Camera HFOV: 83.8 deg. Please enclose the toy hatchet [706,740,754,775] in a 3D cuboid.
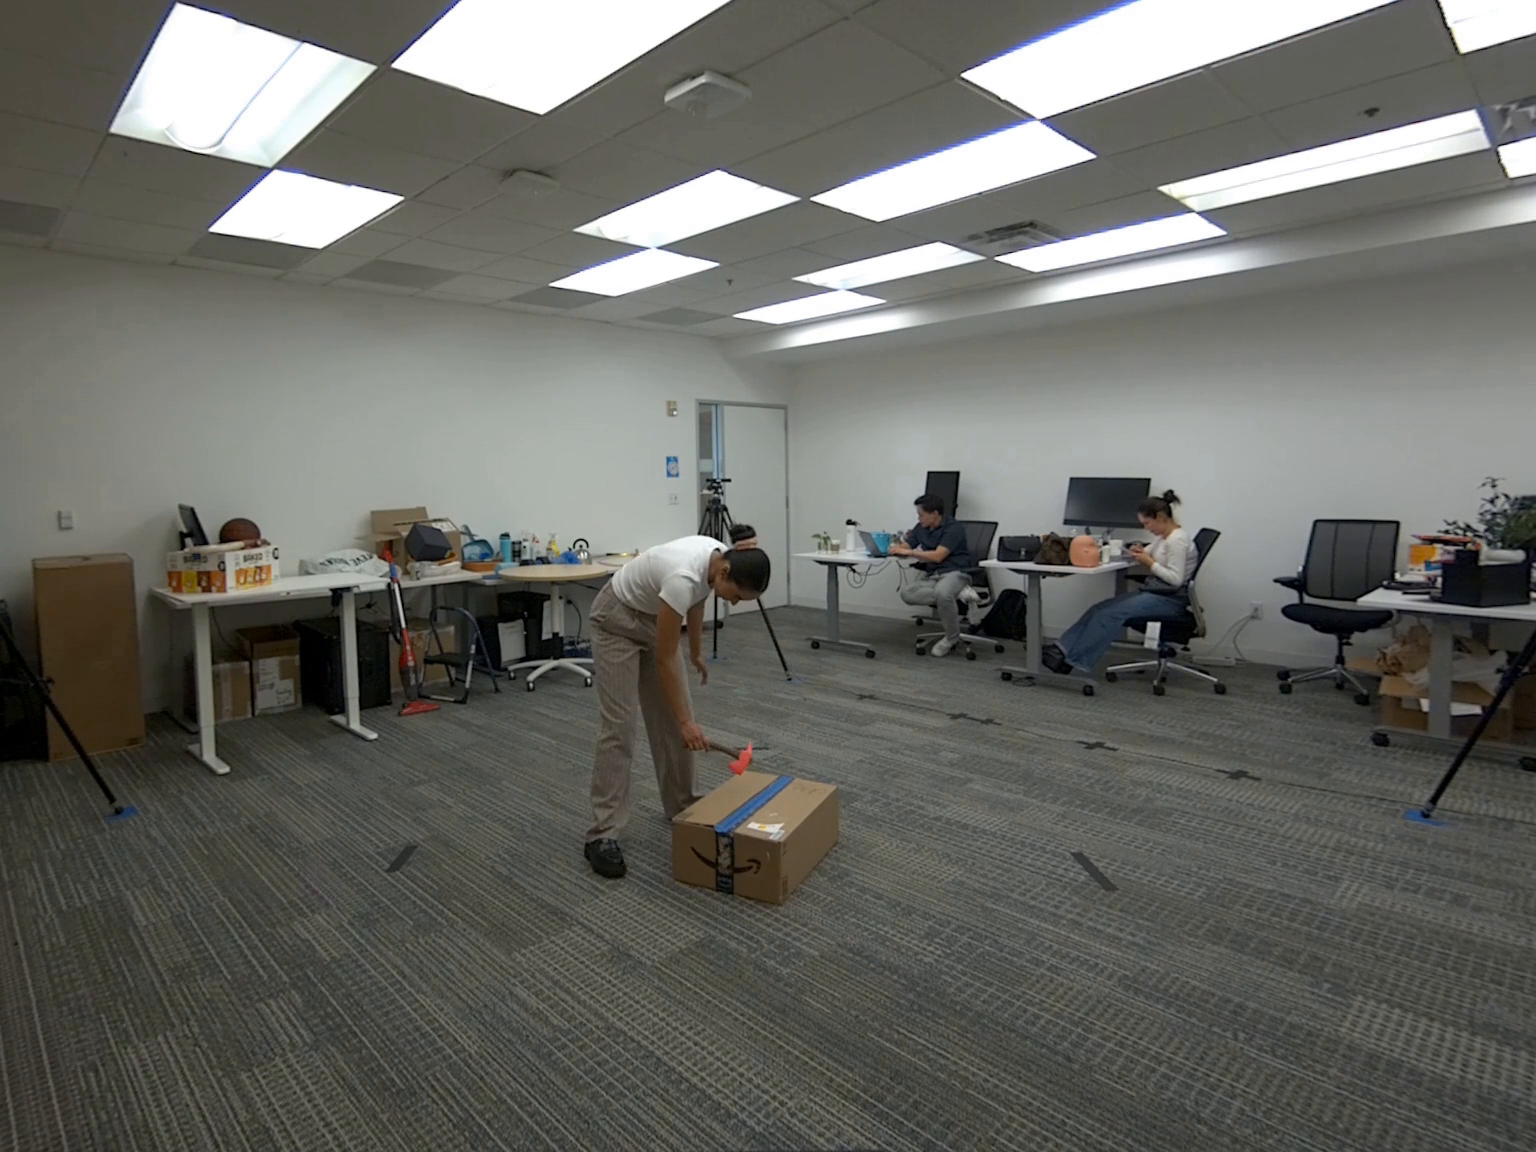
[{"bbox_3d":[-0.195,0.681,3.184,0.269,0.134,0.029,3,-36,-2],"label":"toy hatchet"}]
